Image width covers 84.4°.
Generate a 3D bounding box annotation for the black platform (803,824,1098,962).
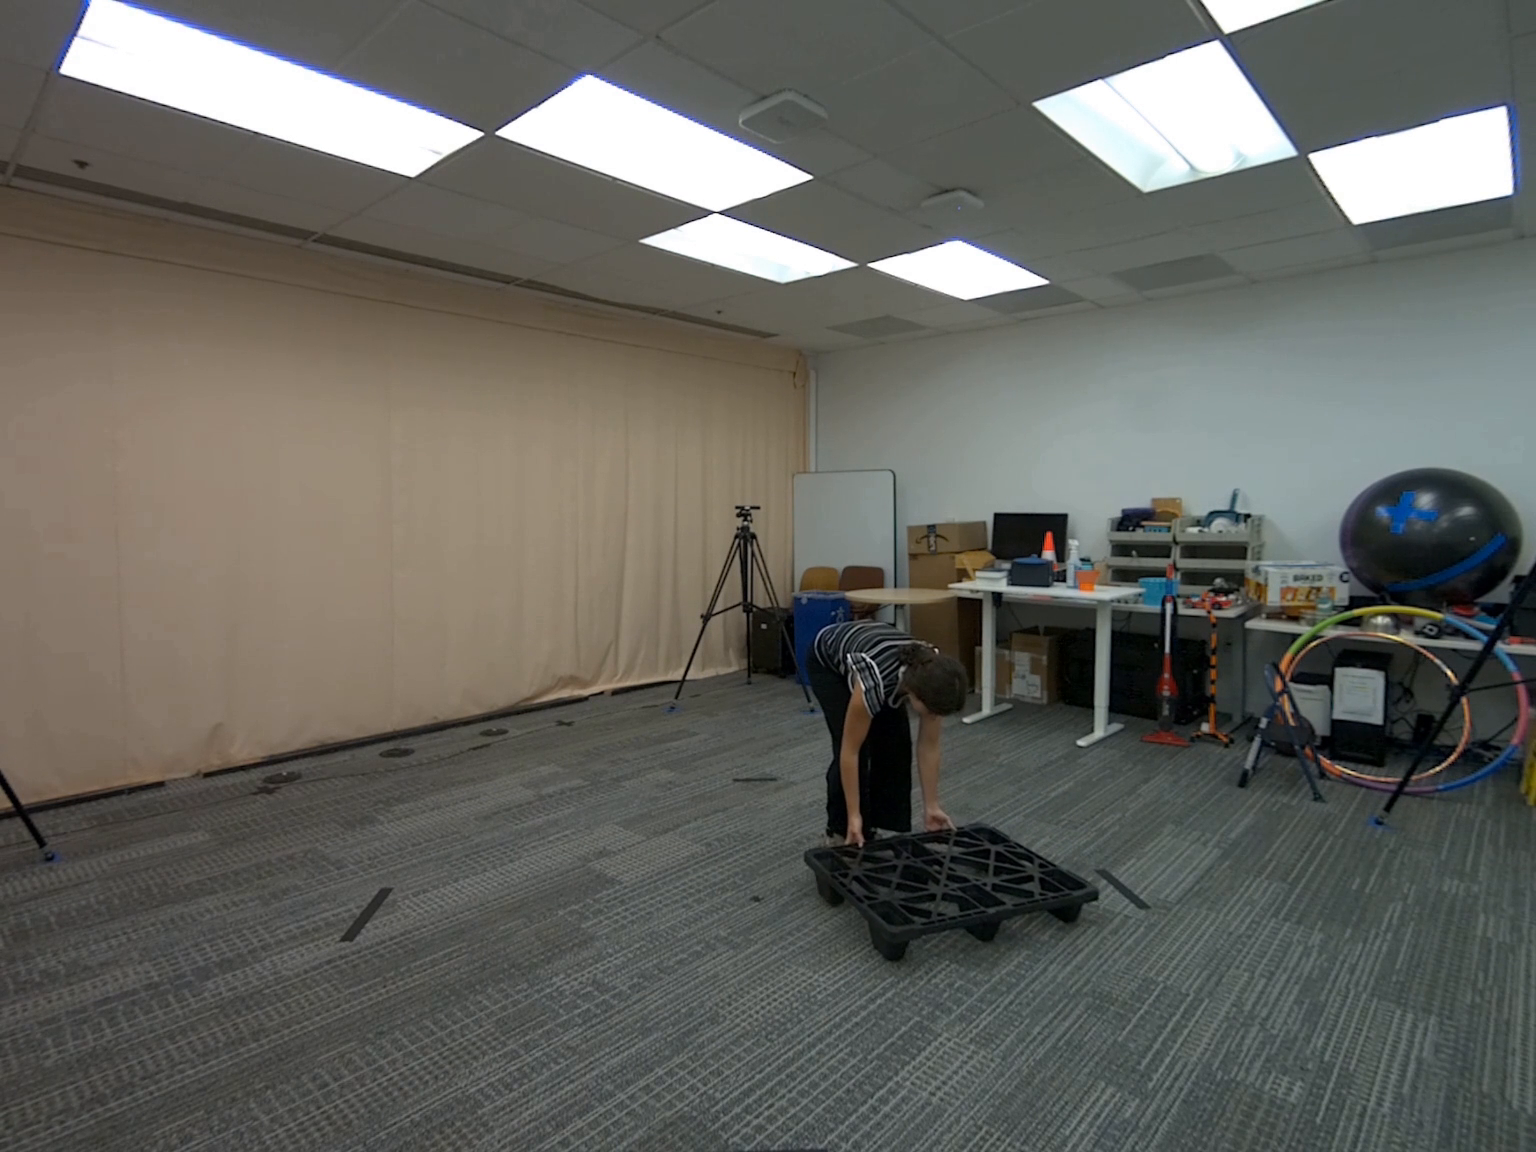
[{"bbox_3d":[0.613,1.080,2.905,0.788,0.143,0.620,-1,5,-22],"label":"black platform"}]
